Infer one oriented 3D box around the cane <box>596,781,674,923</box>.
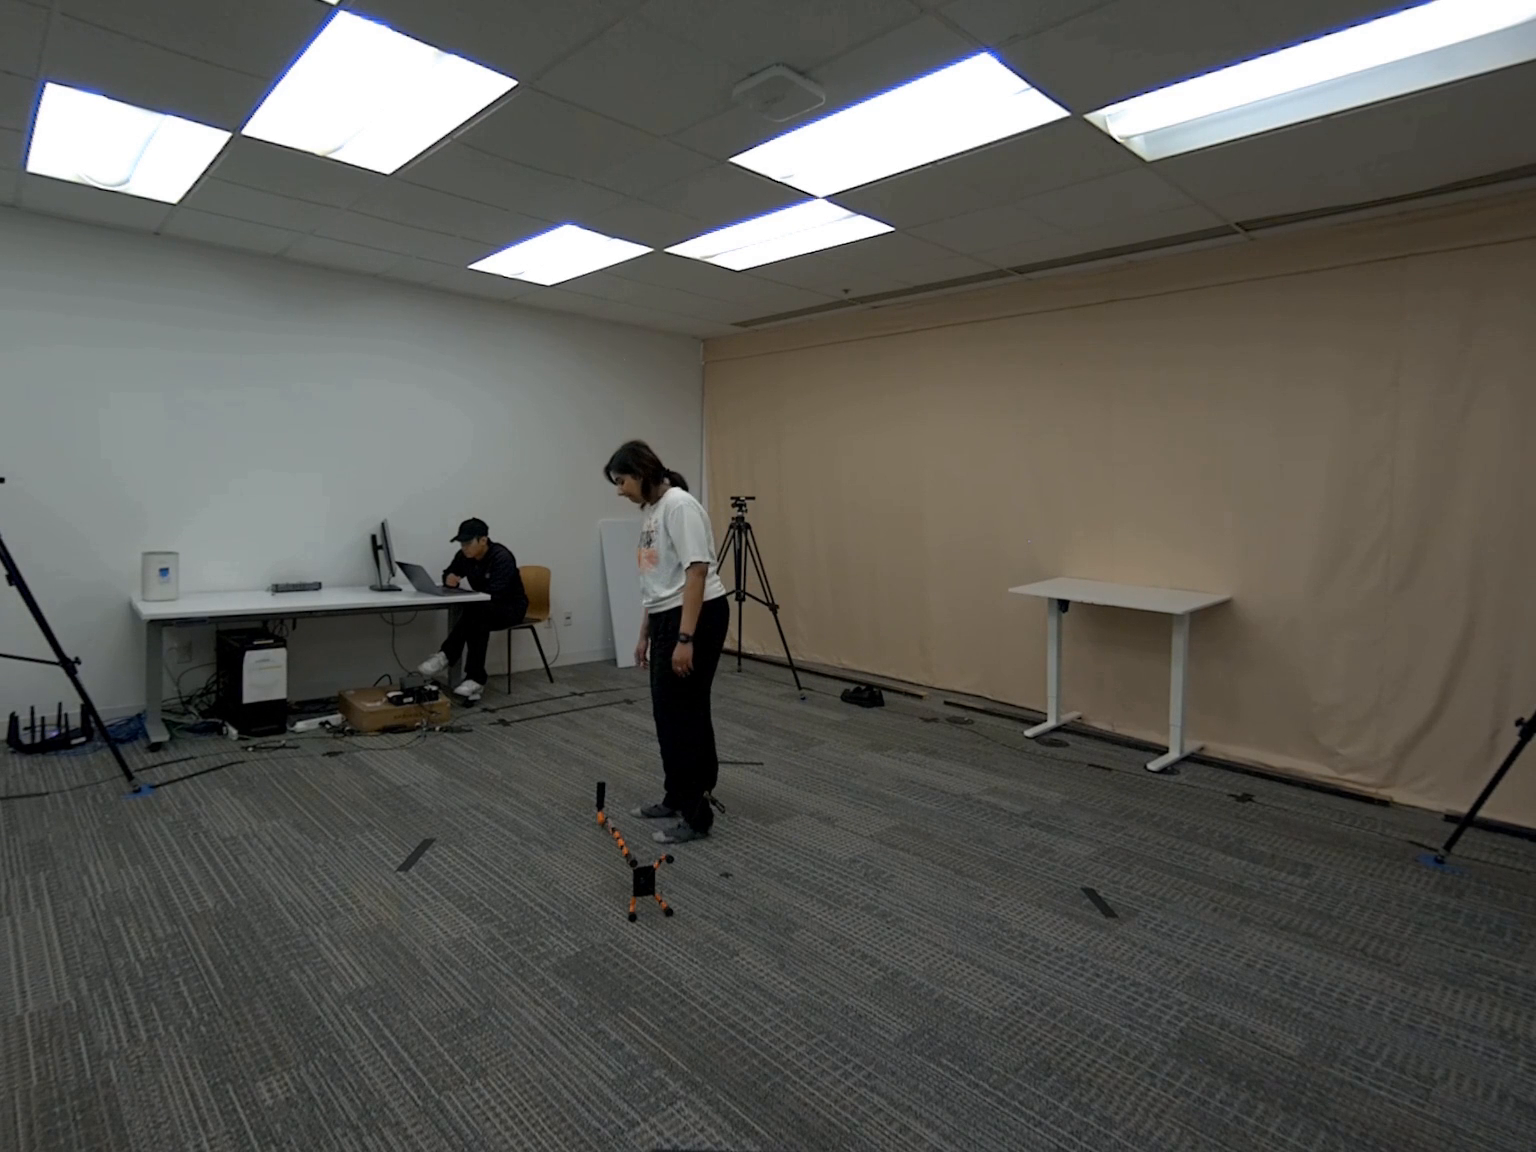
[{"bbox_3d":[-0.551,0.996,3.186,0.149,0.206,0.923,-3,3,-21],"label":"cane"}]
